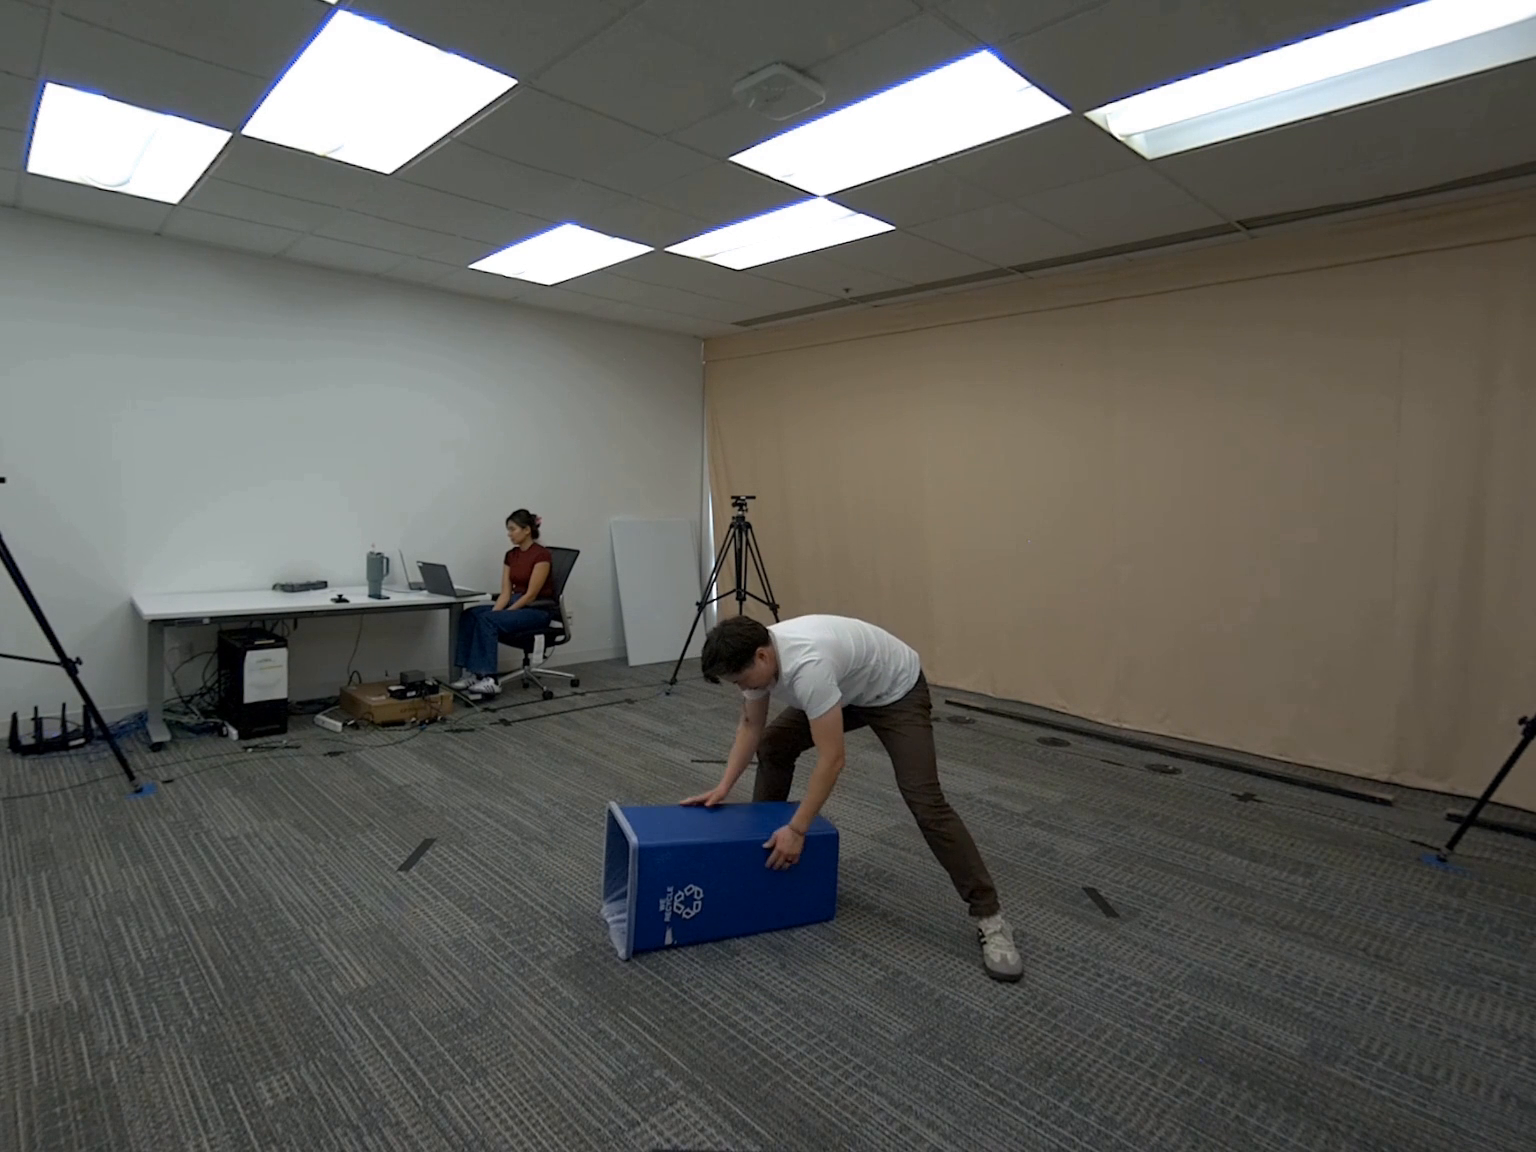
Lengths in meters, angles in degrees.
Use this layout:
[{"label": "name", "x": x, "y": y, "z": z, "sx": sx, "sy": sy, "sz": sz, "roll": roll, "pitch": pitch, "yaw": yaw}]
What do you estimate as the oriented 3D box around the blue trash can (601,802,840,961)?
[{"label": "blue trash can", "x": -0.158, "y": 0.958, "z": 2.779, "sx": 0.702, "sy": 0.377, "sz": 0.381, "roll": 1, "pitch": 3, "yaw": -21}]
